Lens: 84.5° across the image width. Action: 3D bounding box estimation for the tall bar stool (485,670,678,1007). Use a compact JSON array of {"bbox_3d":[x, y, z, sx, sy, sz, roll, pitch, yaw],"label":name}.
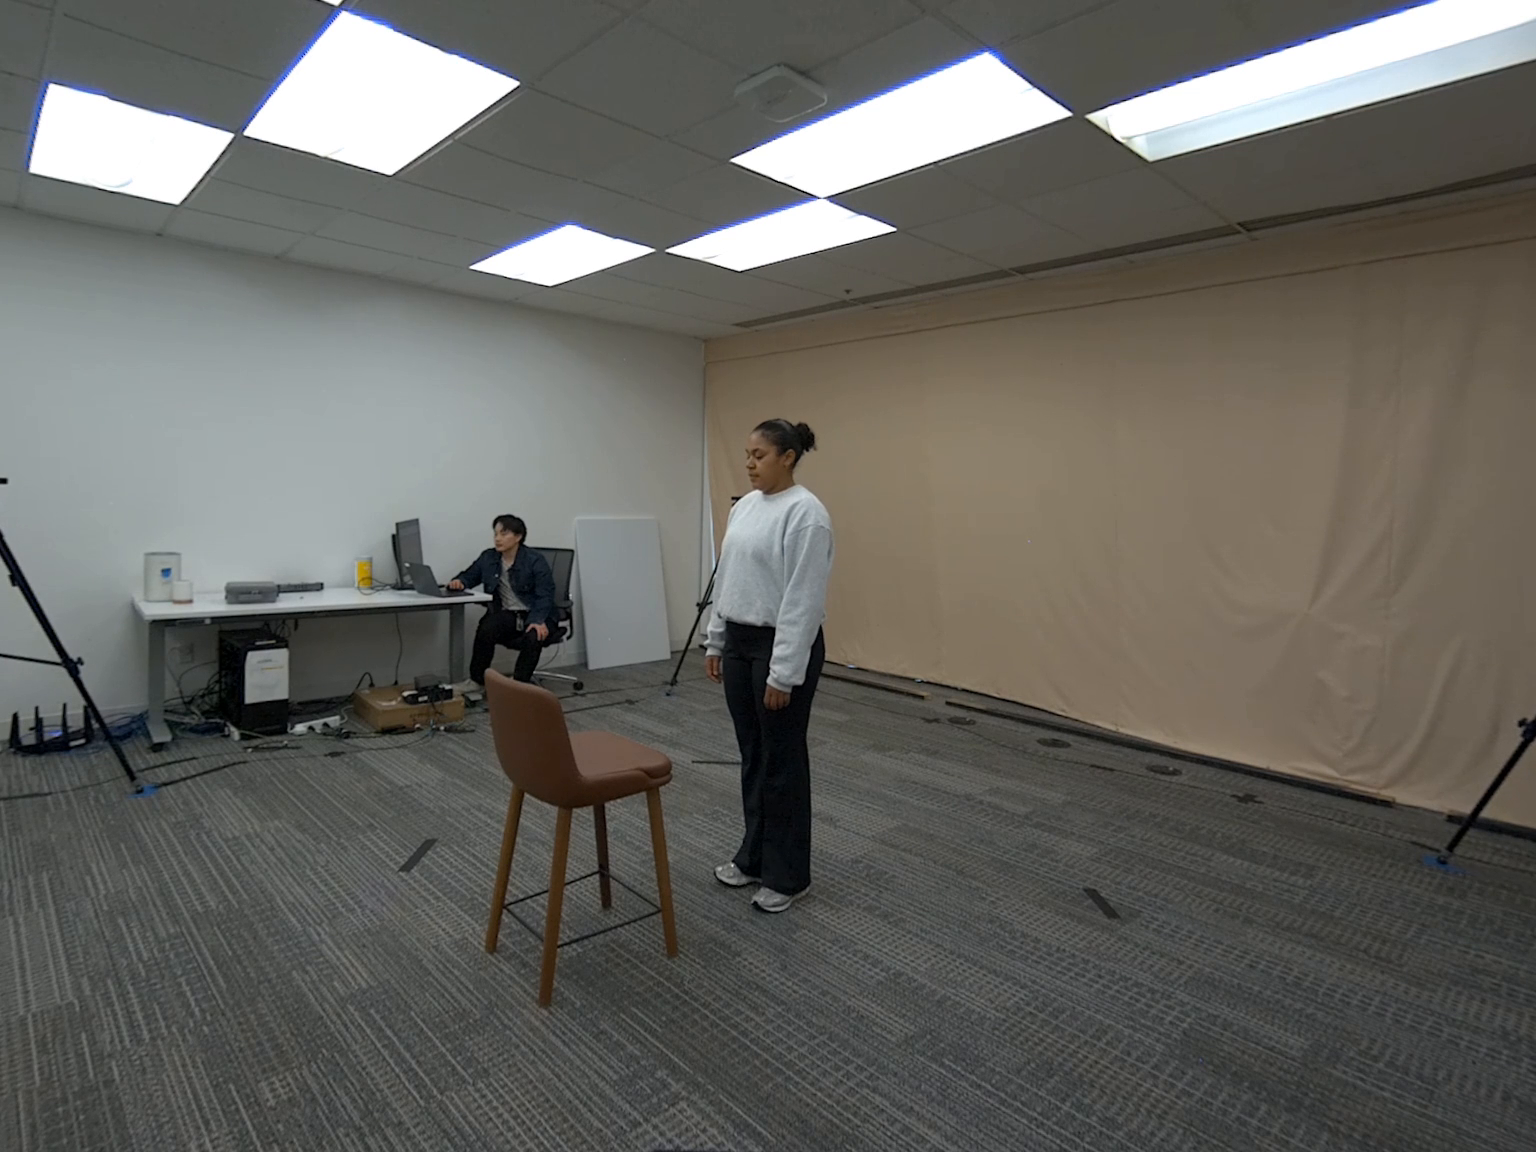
[{"bbox_3d":[-0.575,0.712,2.531,0.457,0.887,0.468,-5,6,-41],"label":"tall bar stool"}]
